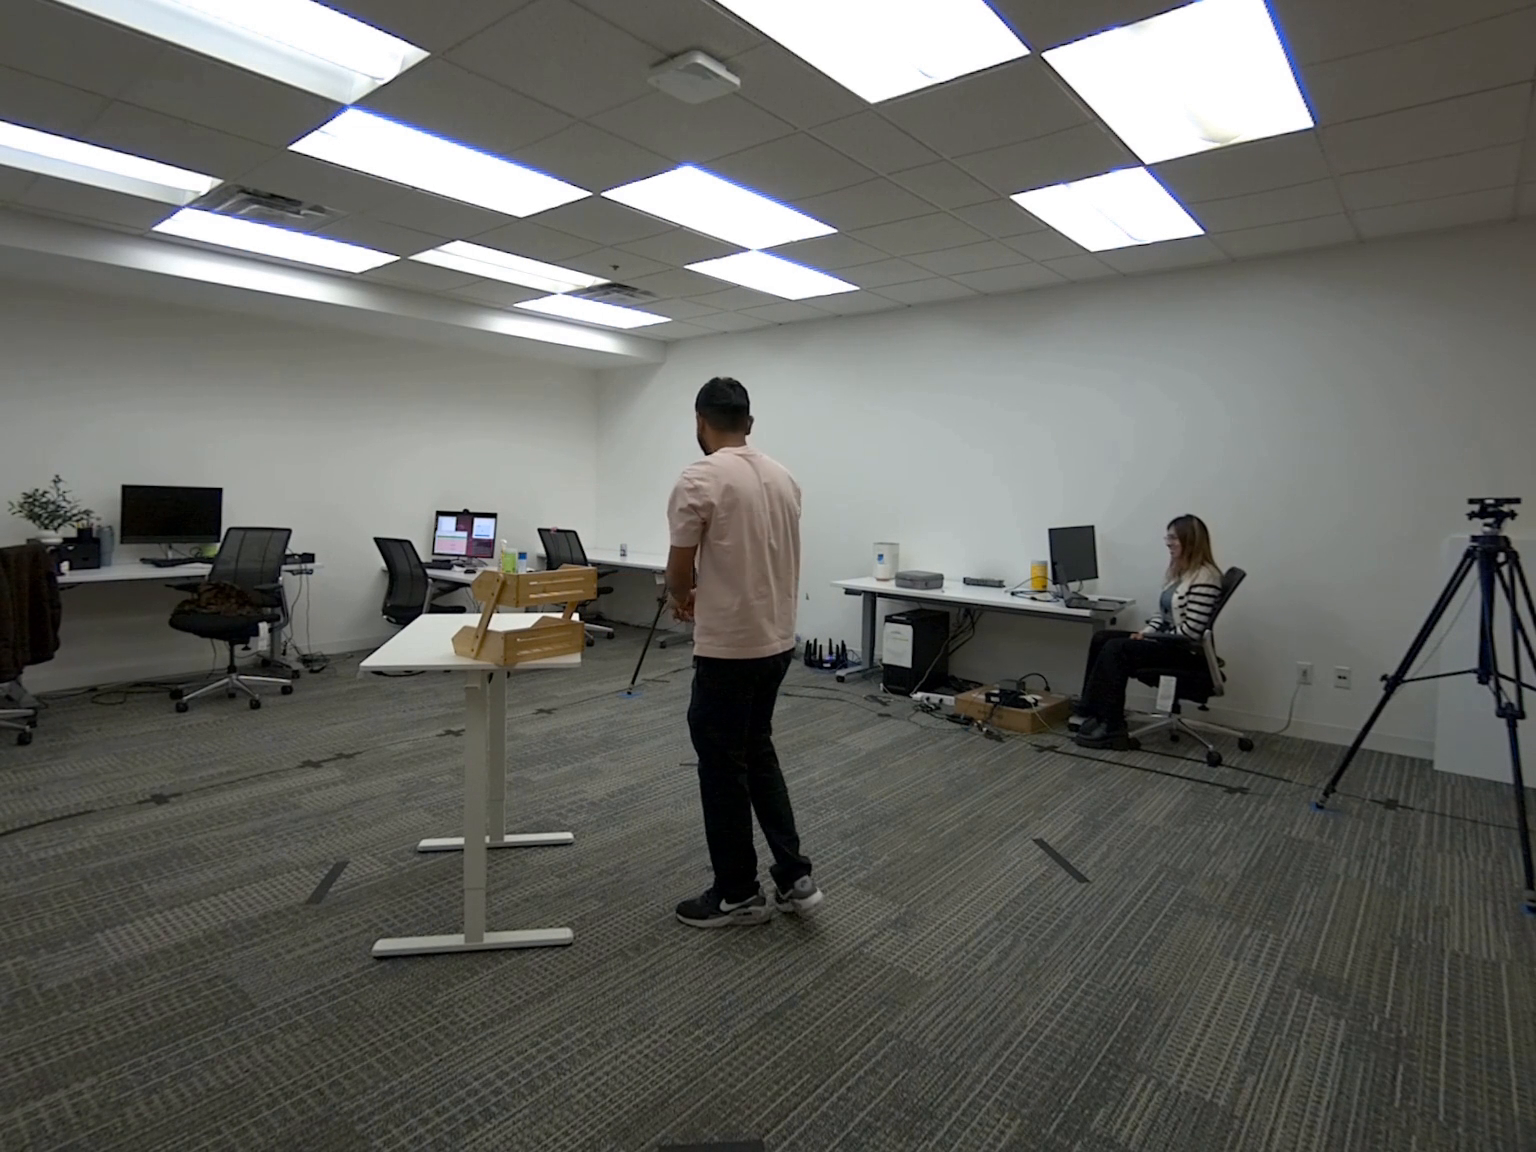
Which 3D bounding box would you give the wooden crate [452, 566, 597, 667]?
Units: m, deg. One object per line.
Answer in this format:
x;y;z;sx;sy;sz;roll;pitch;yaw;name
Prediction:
-0.734;0.099;2.536;0.312;0.272;0.315;5;6;37;wooden crate
